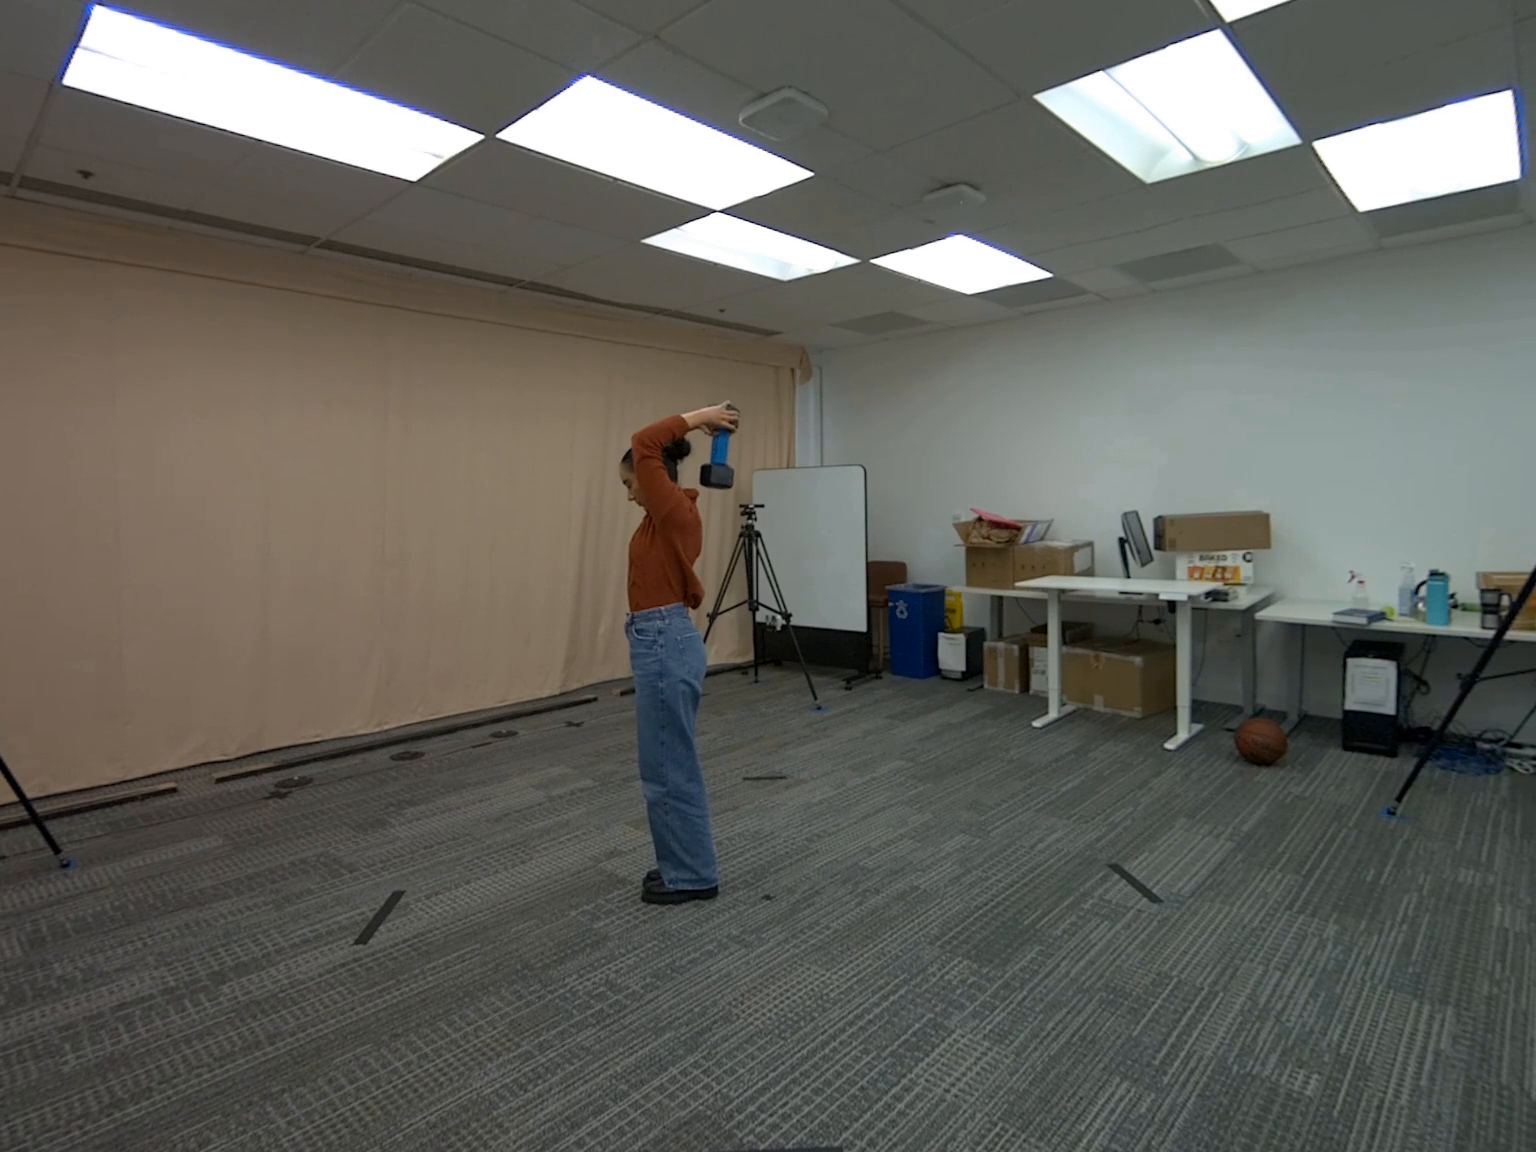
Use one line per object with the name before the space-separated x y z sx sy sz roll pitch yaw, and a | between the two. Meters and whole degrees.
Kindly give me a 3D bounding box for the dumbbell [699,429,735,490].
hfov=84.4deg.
dumbbell | -0.173 -0.458 2.974 0.121 0.293 0.110 3 0 -17
